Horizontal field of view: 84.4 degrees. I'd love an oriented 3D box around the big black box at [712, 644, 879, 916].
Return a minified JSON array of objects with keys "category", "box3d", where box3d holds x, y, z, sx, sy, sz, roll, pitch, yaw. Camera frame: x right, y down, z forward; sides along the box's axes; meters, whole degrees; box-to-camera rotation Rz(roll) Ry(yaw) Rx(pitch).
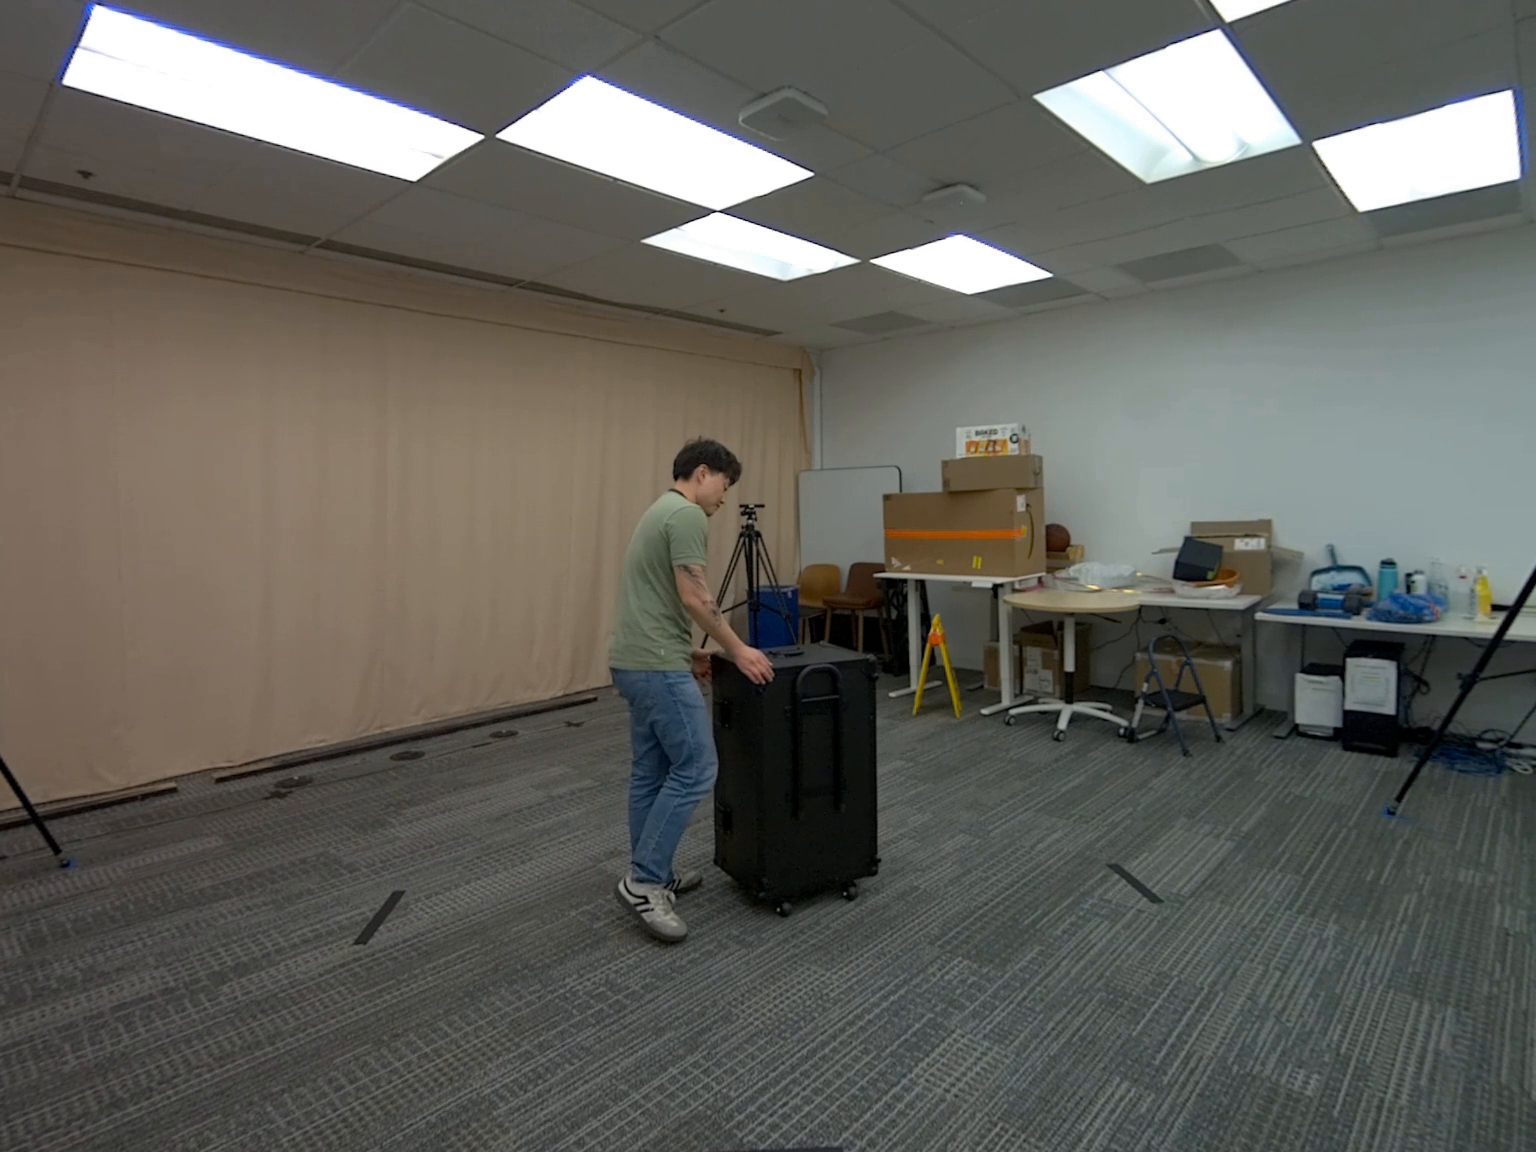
[{"category":"big black box","box3d":[0.113,0.711,3.027,0.509,0.859,0.407,-3,4,-26]}]
